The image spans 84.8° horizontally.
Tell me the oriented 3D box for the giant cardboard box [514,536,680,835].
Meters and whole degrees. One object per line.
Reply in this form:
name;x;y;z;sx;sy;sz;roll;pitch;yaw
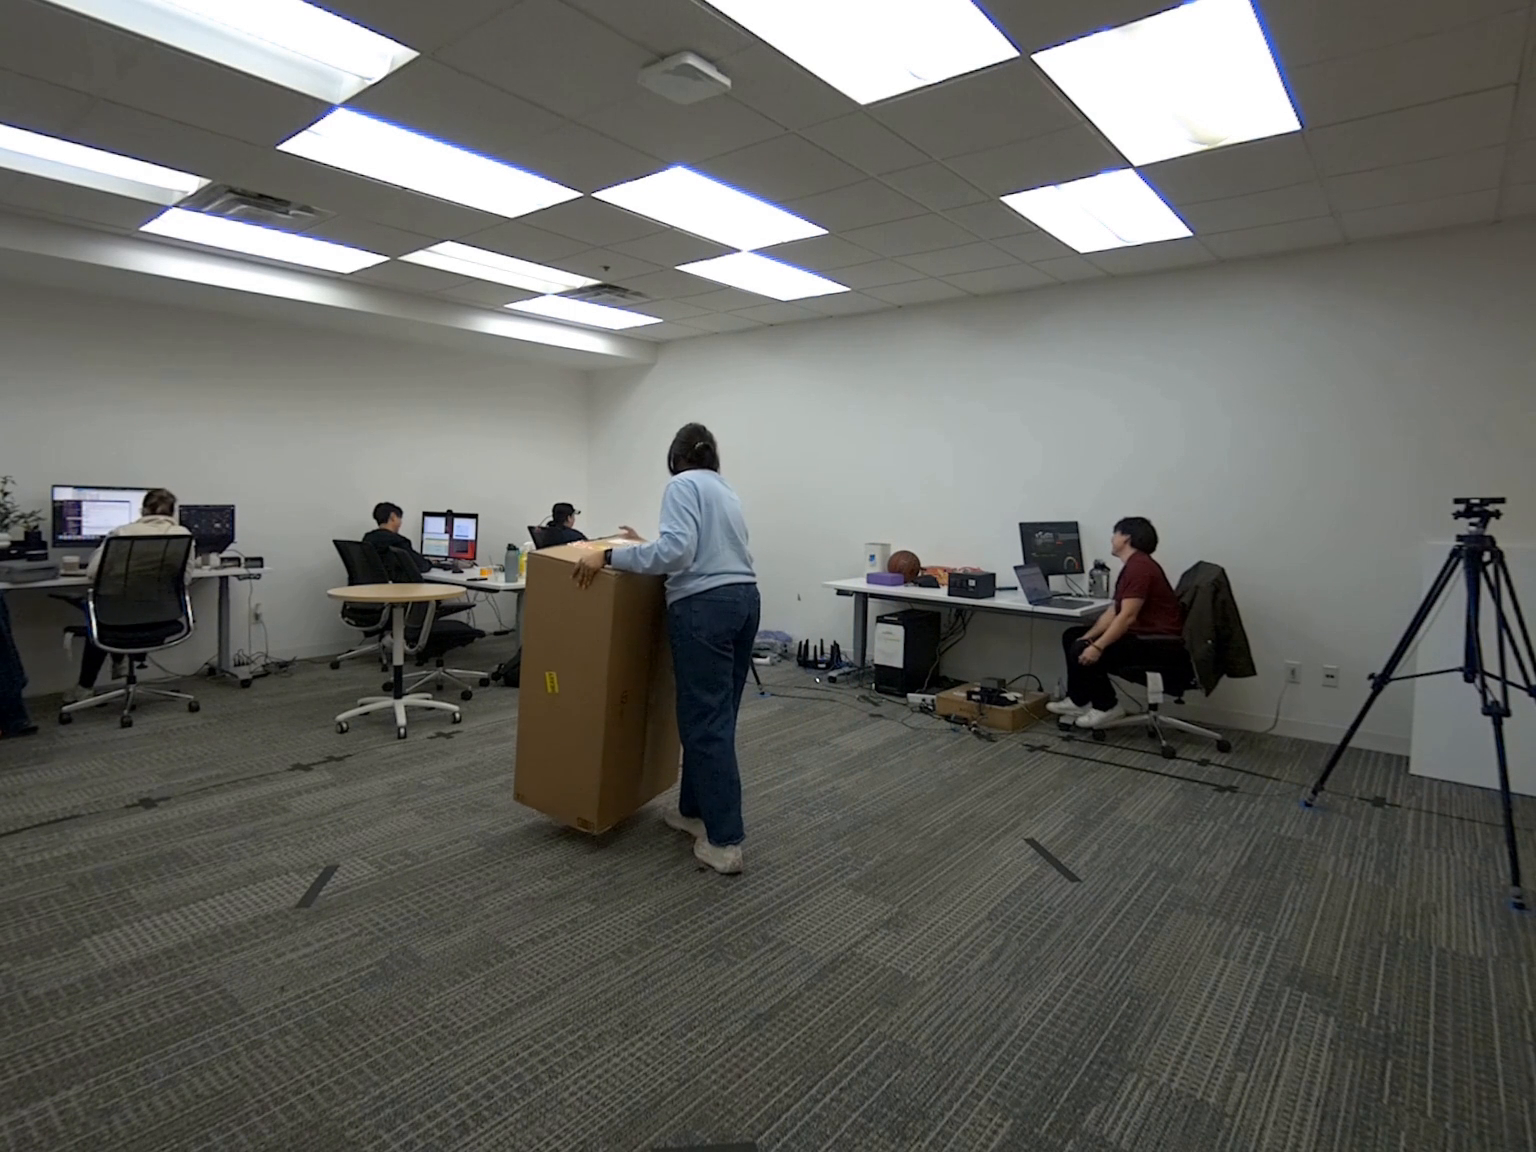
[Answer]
giant cardboard box;-0.672;0.402;3.453;0.461;1.018;0.571;11;12;28
